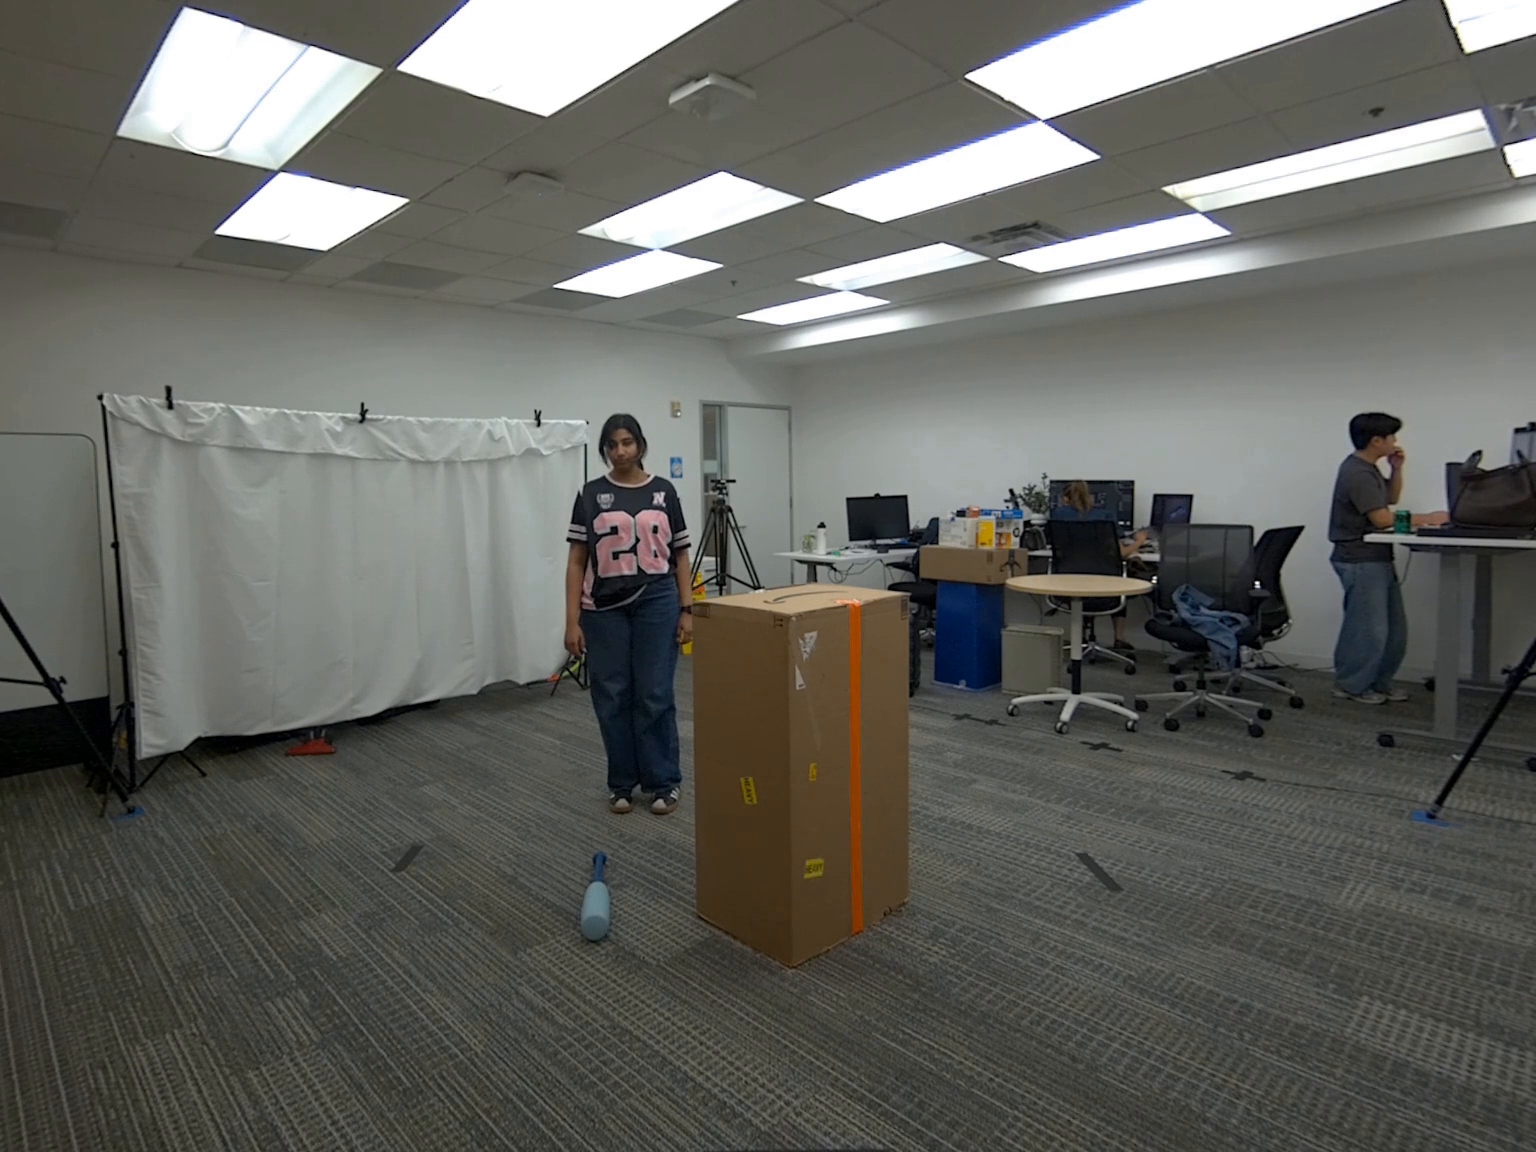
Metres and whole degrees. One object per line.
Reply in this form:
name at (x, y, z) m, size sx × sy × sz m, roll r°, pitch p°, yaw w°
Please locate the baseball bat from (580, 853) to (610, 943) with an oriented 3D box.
baseball bat at (-0.565, 1.053, 2.852) m, size 0.088 × 0.089 × 0.548 m, roll -2°, pitch 5°, yaw -9°
